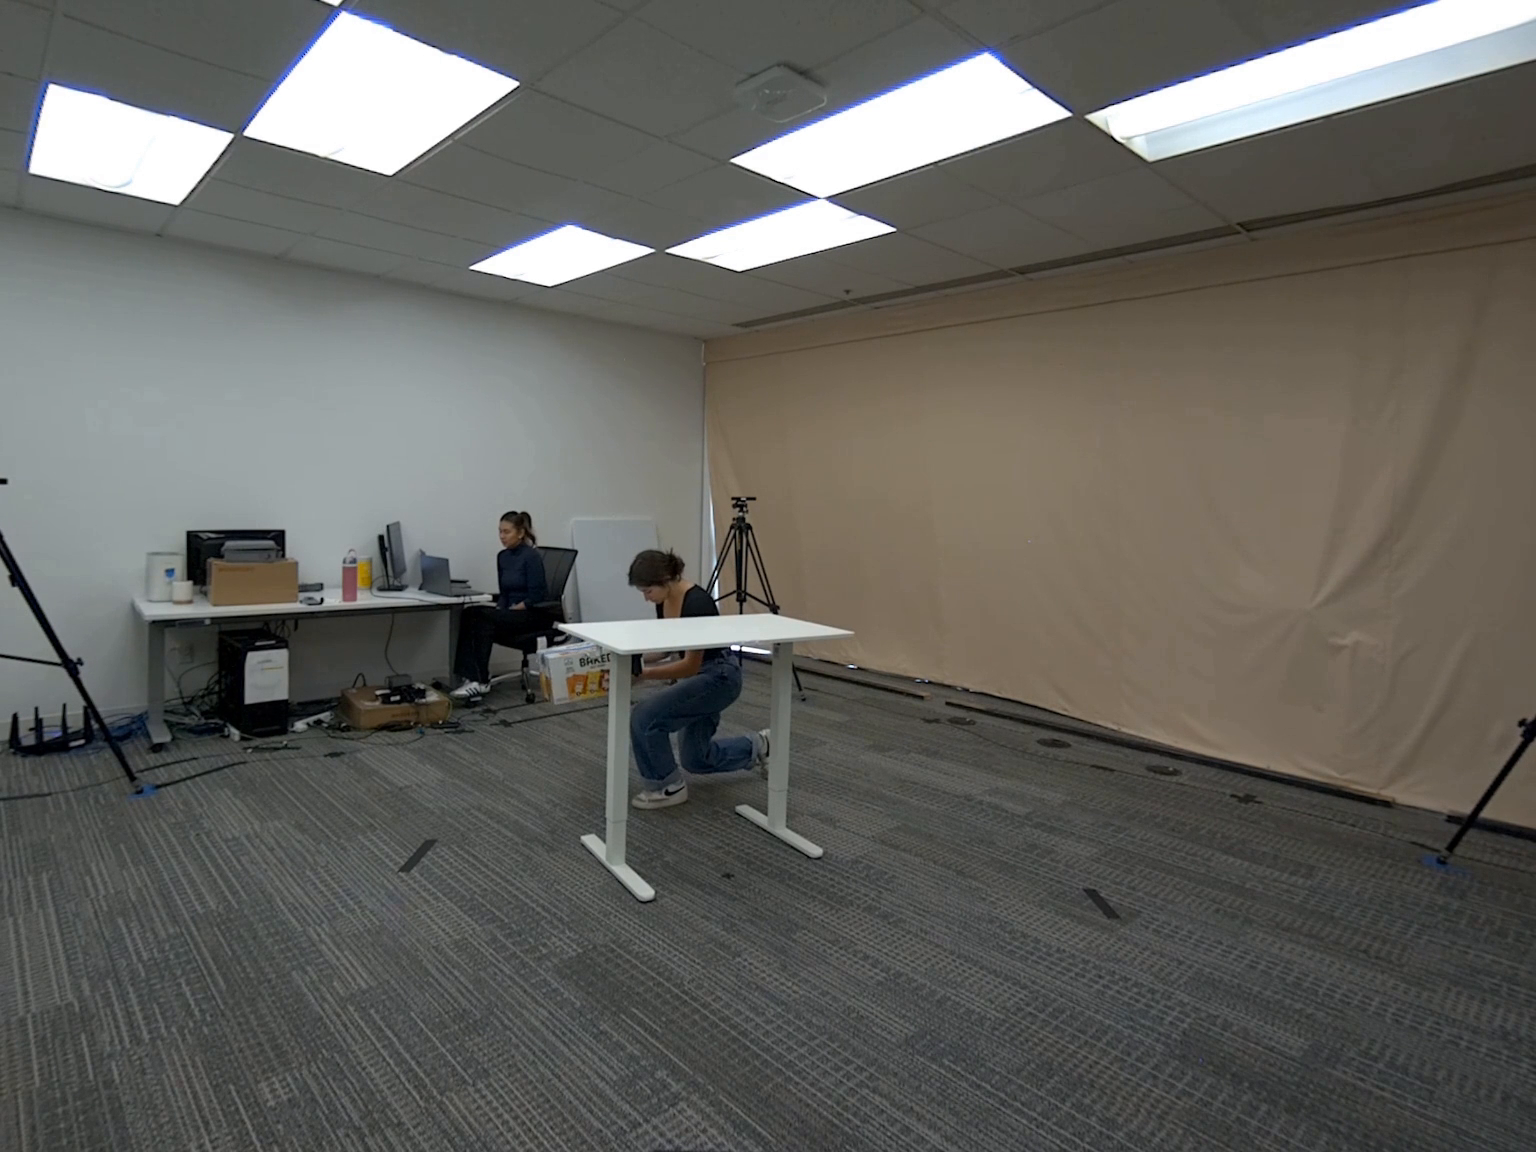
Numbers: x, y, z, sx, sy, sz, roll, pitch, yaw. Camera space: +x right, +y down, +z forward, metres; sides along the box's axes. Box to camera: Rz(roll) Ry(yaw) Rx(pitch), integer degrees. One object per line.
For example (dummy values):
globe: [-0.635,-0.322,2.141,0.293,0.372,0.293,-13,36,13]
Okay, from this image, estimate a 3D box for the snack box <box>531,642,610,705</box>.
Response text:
snack box: [-0.802,0.402,3.753,0.399,0.205,0.346,-9,6,-24]
